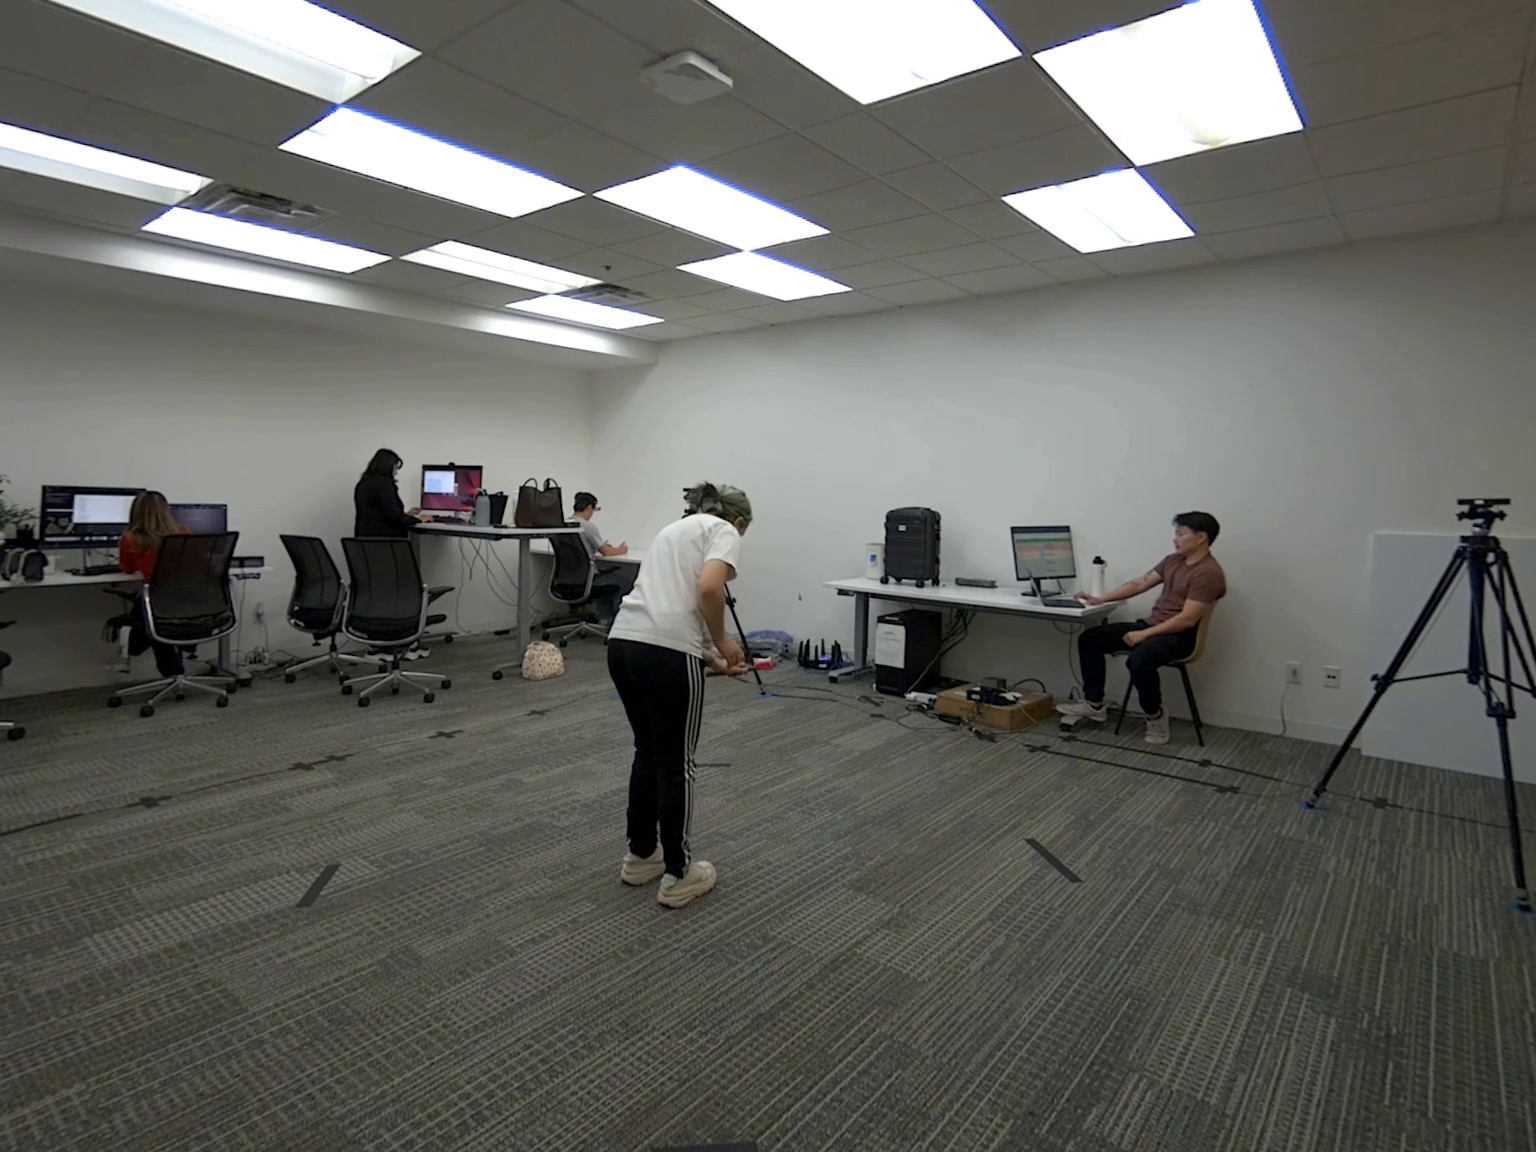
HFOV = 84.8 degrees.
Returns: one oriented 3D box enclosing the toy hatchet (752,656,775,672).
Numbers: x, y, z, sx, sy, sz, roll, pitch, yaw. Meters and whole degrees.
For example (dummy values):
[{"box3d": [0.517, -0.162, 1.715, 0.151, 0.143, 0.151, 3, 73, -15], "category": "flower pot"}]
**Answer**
[{"box3d": [-0.122, 0.355, 3.262, 0.267, 0.030, 0.130, -5, -16, -12], "category": "toy hatchet"}]
